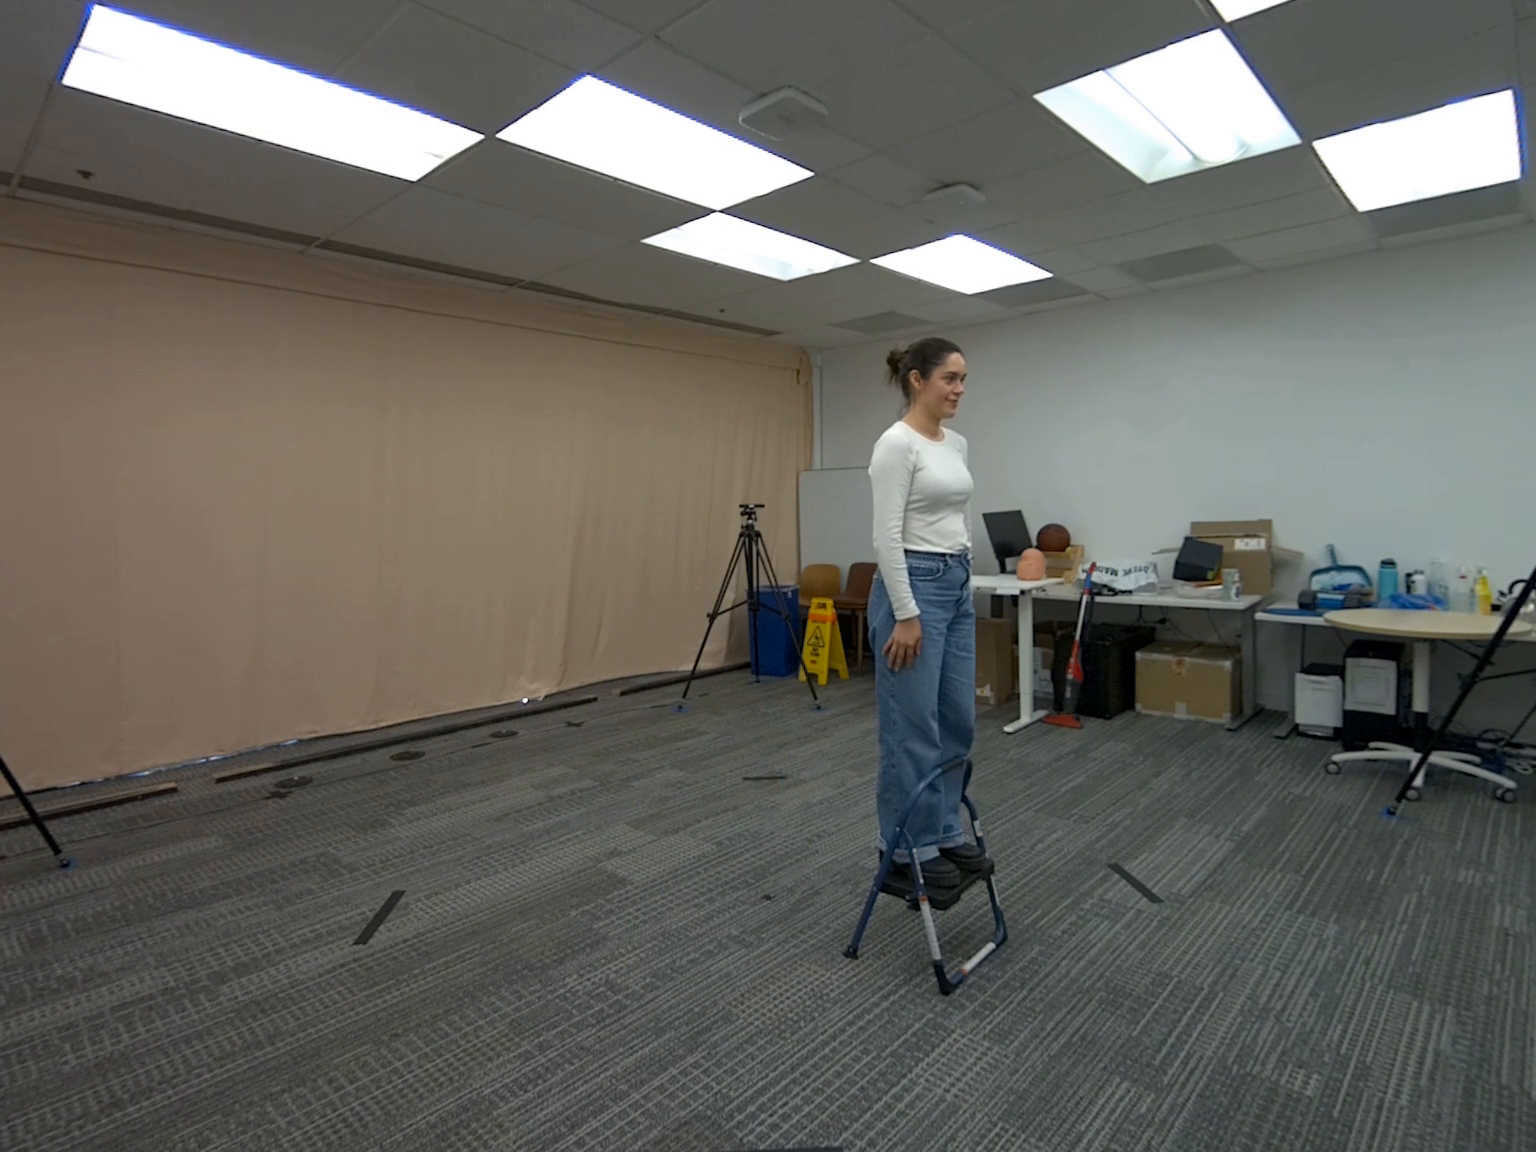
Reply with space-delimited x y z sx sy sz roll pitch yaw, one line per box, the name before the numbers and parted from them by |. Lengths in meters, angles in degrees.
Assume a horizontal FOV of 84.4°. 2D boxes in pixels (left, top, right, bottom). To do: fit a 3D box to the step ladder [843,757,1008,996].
step ladder | 0.500 0.861 2.611 0.361 0.604 0.418 3 6 40
